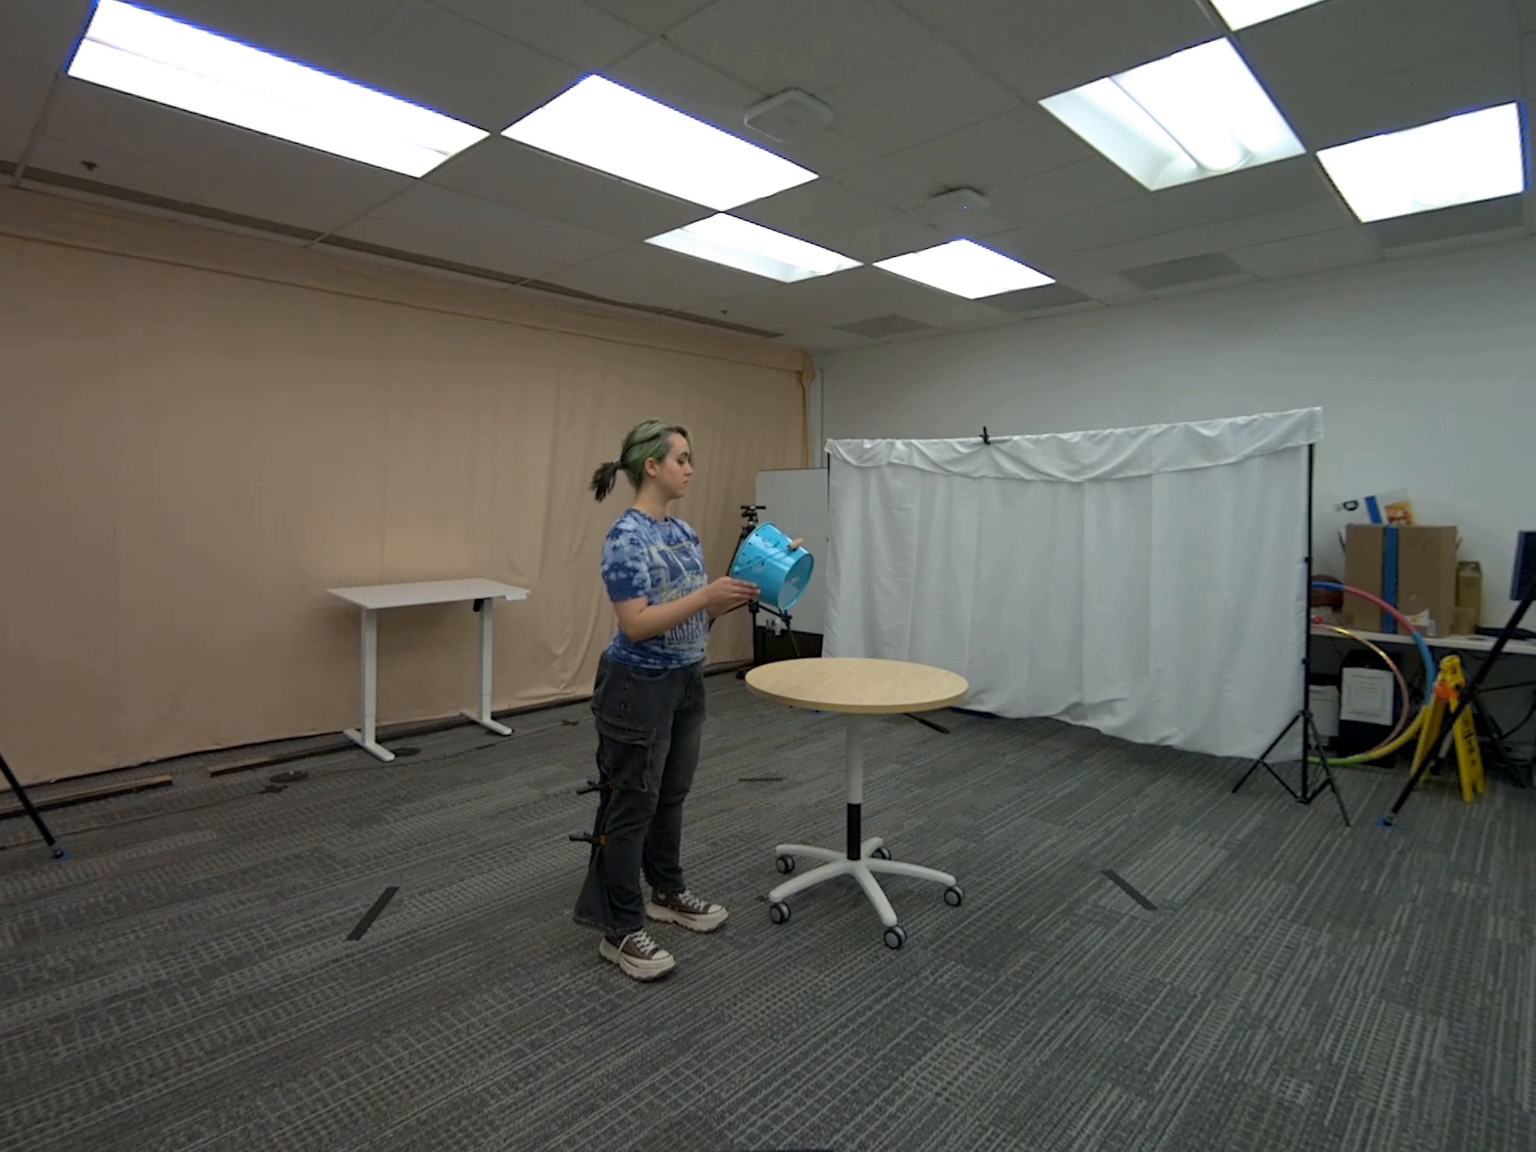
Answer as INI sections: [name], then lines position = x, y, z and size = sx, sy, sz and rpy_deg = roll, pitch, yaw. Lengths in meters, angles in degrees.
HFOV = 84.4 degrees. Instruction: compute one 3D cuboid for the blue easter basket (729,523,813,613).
[blue easter basket]
position = 0.024, -0.018, 2.420
size = 0.160, 0.243, 0.237
rpy_deg = 27, 15, 24
